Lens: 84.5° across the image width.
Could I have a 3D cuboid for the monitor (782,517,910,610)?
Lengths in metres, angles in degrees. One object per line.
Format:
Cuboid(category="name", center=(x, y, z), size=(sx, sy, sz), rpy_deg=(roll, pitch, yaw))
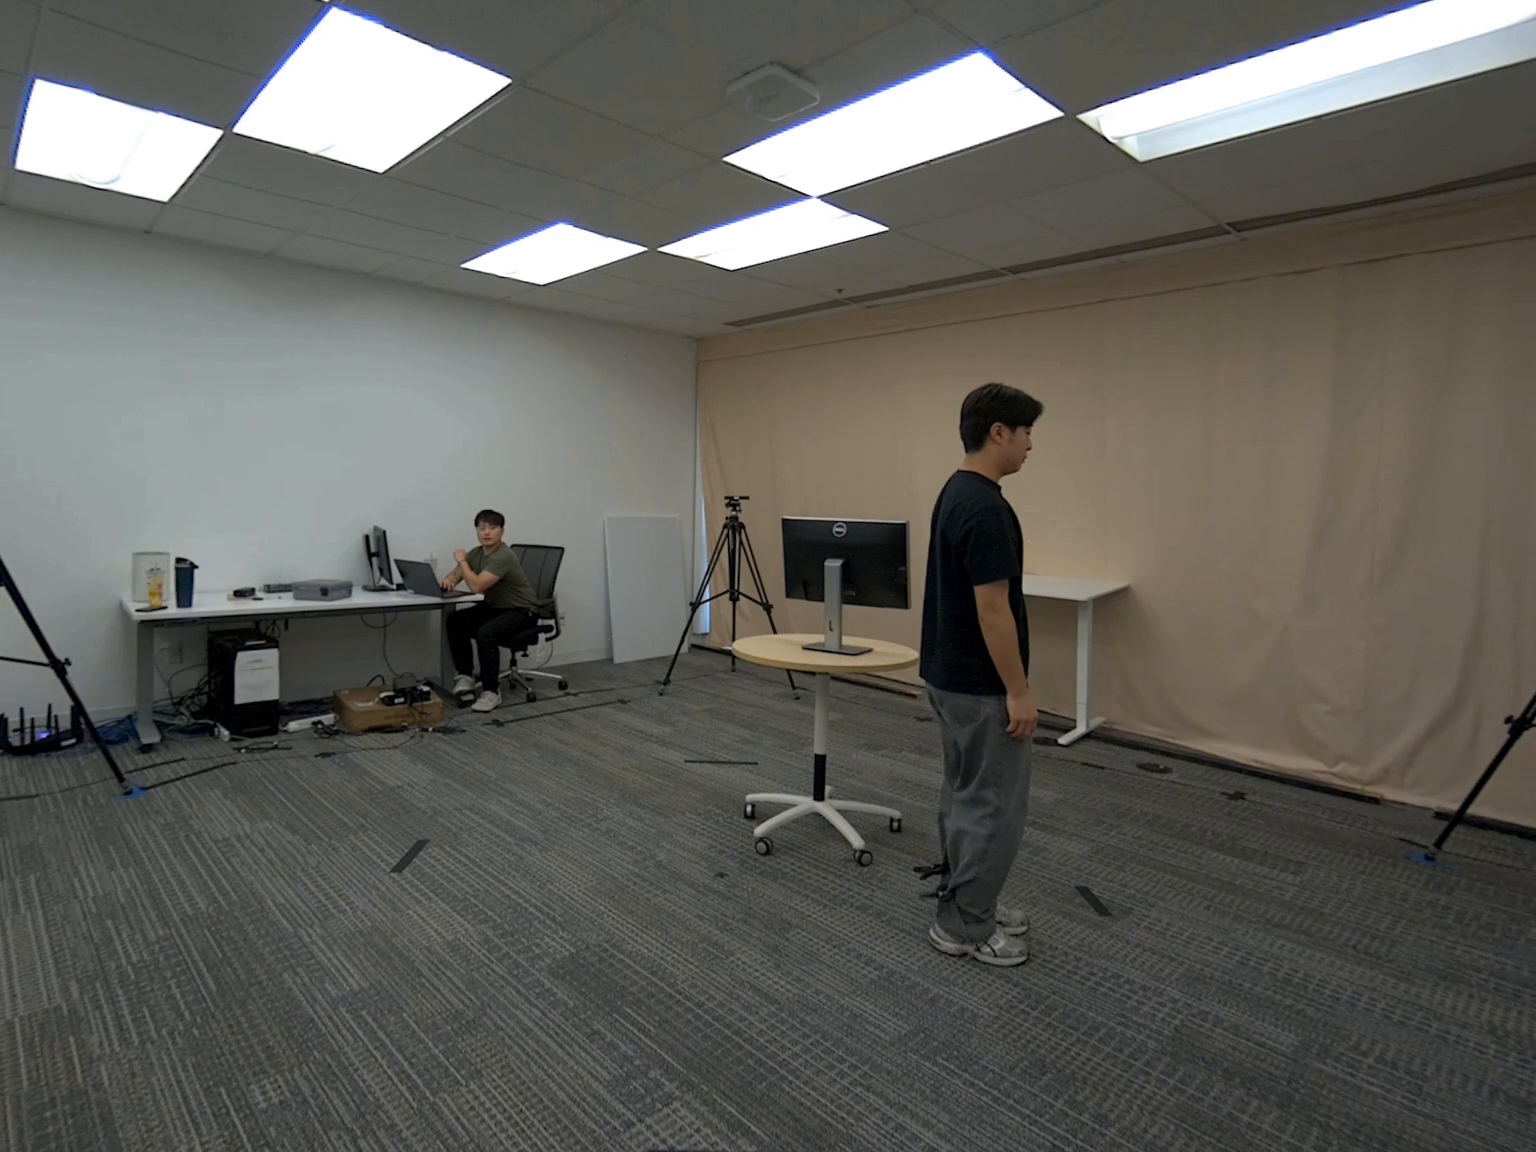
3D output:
Cuboid(category="monitor", center=(0.292, 0.046, 3.461), size=(0.575, 0.566, 0.217), rpy_deg=(4, 1, 33))
